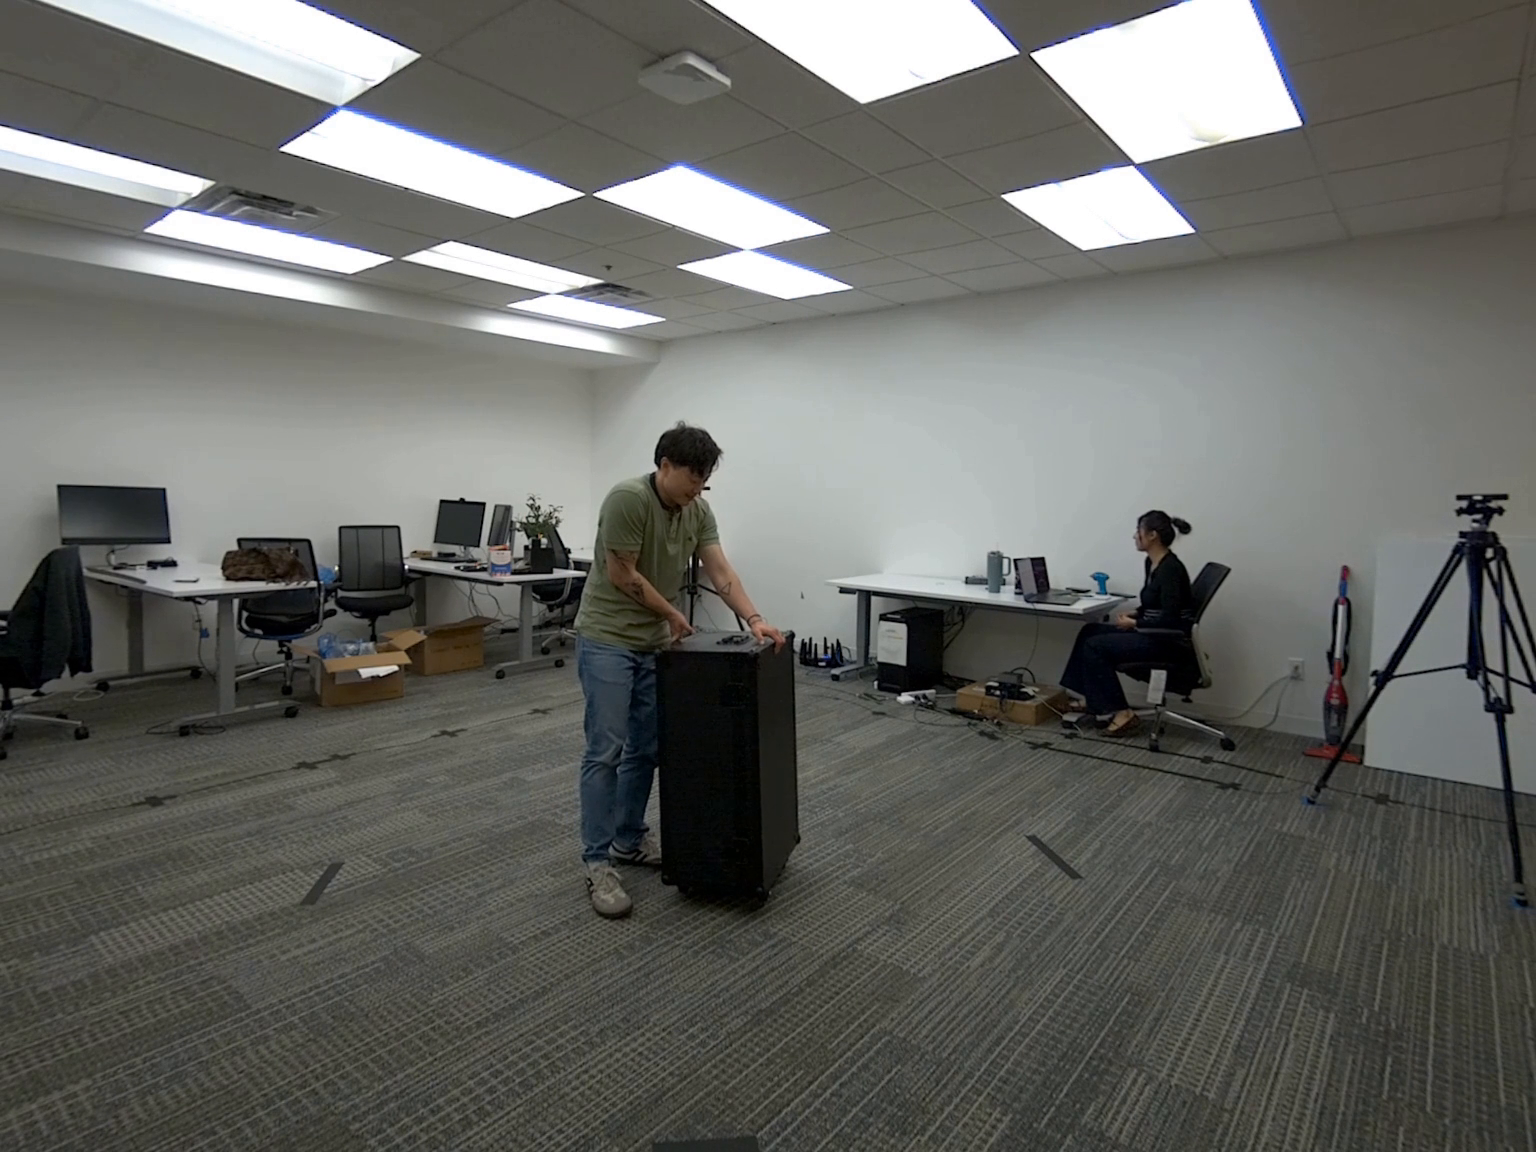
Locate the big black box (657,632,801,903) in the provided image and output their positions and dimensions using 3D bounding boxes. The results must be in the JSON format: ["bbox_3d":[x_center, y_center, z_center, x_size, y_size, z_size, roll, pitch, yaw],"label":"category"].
[{"bbox_3d":[-0.146,0.644,2.977,0.404,0.860,0.512,-2,2,17],"label":"big black box"}]
